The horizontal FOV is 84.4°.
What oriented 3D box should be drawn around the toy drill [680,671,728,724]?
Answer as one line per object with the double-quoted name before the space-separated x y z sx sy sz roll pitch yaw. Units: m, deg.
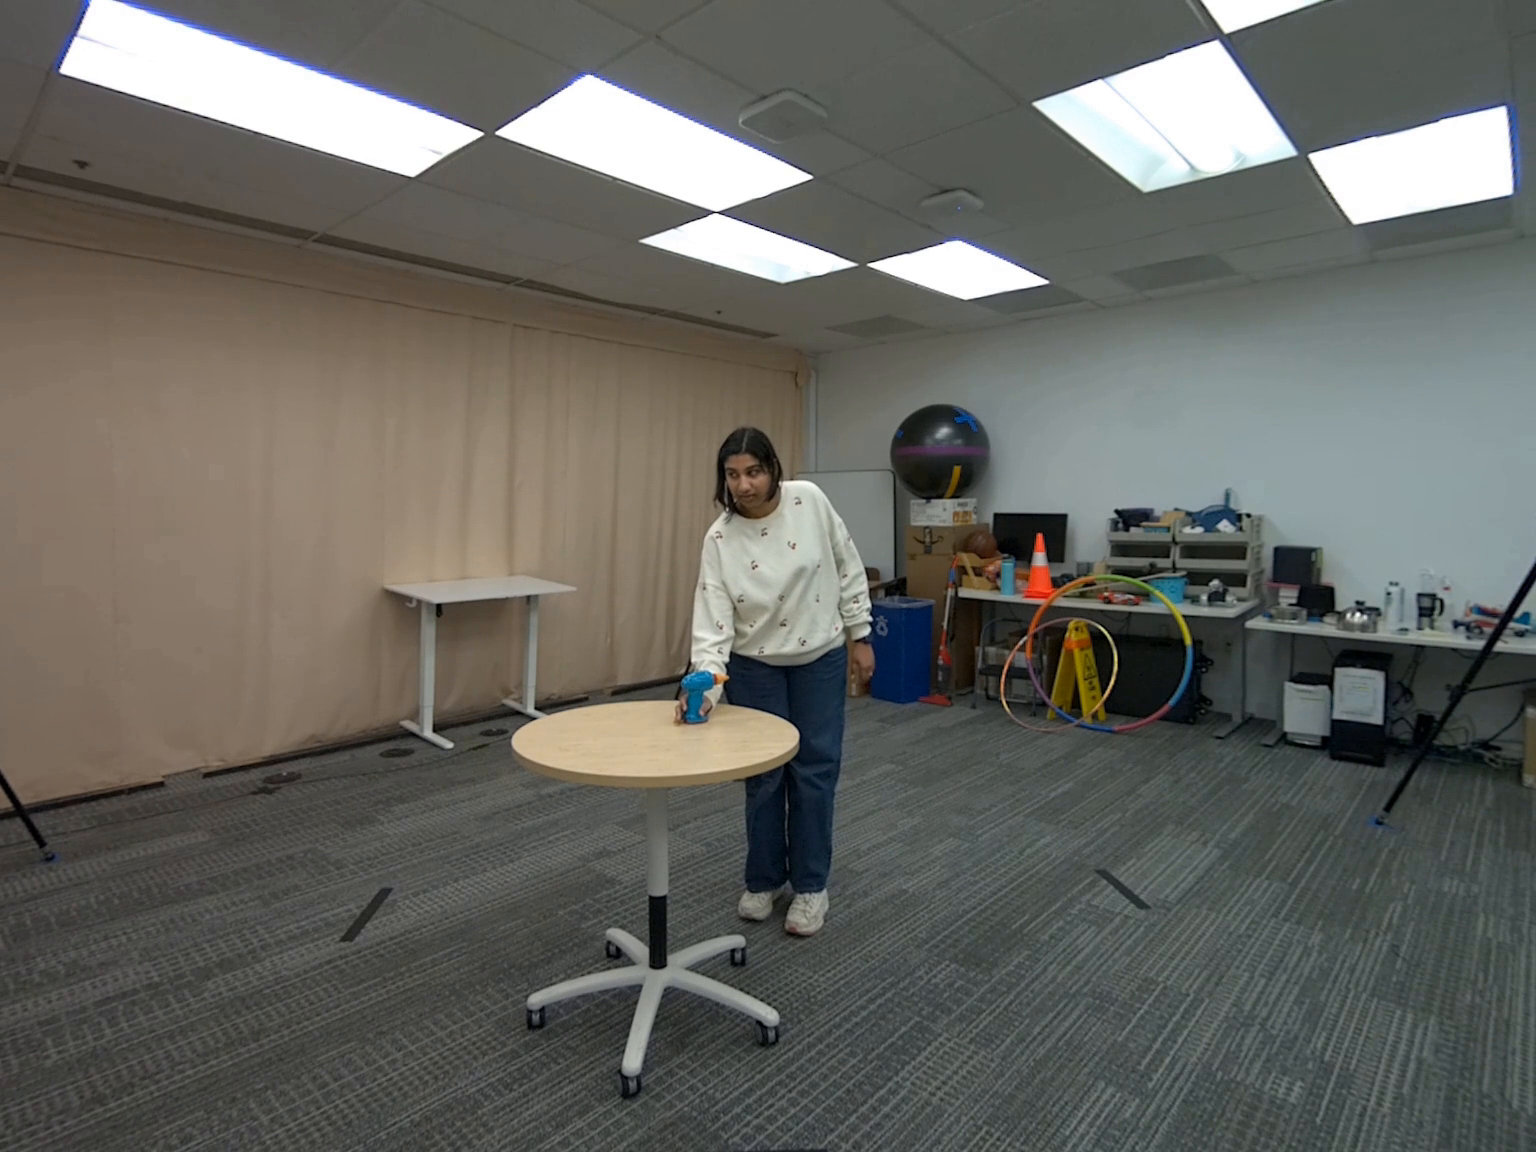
"toy drill" -0.179 0.337 2.406 0.164 0.146 0.063 -2 5 -44
